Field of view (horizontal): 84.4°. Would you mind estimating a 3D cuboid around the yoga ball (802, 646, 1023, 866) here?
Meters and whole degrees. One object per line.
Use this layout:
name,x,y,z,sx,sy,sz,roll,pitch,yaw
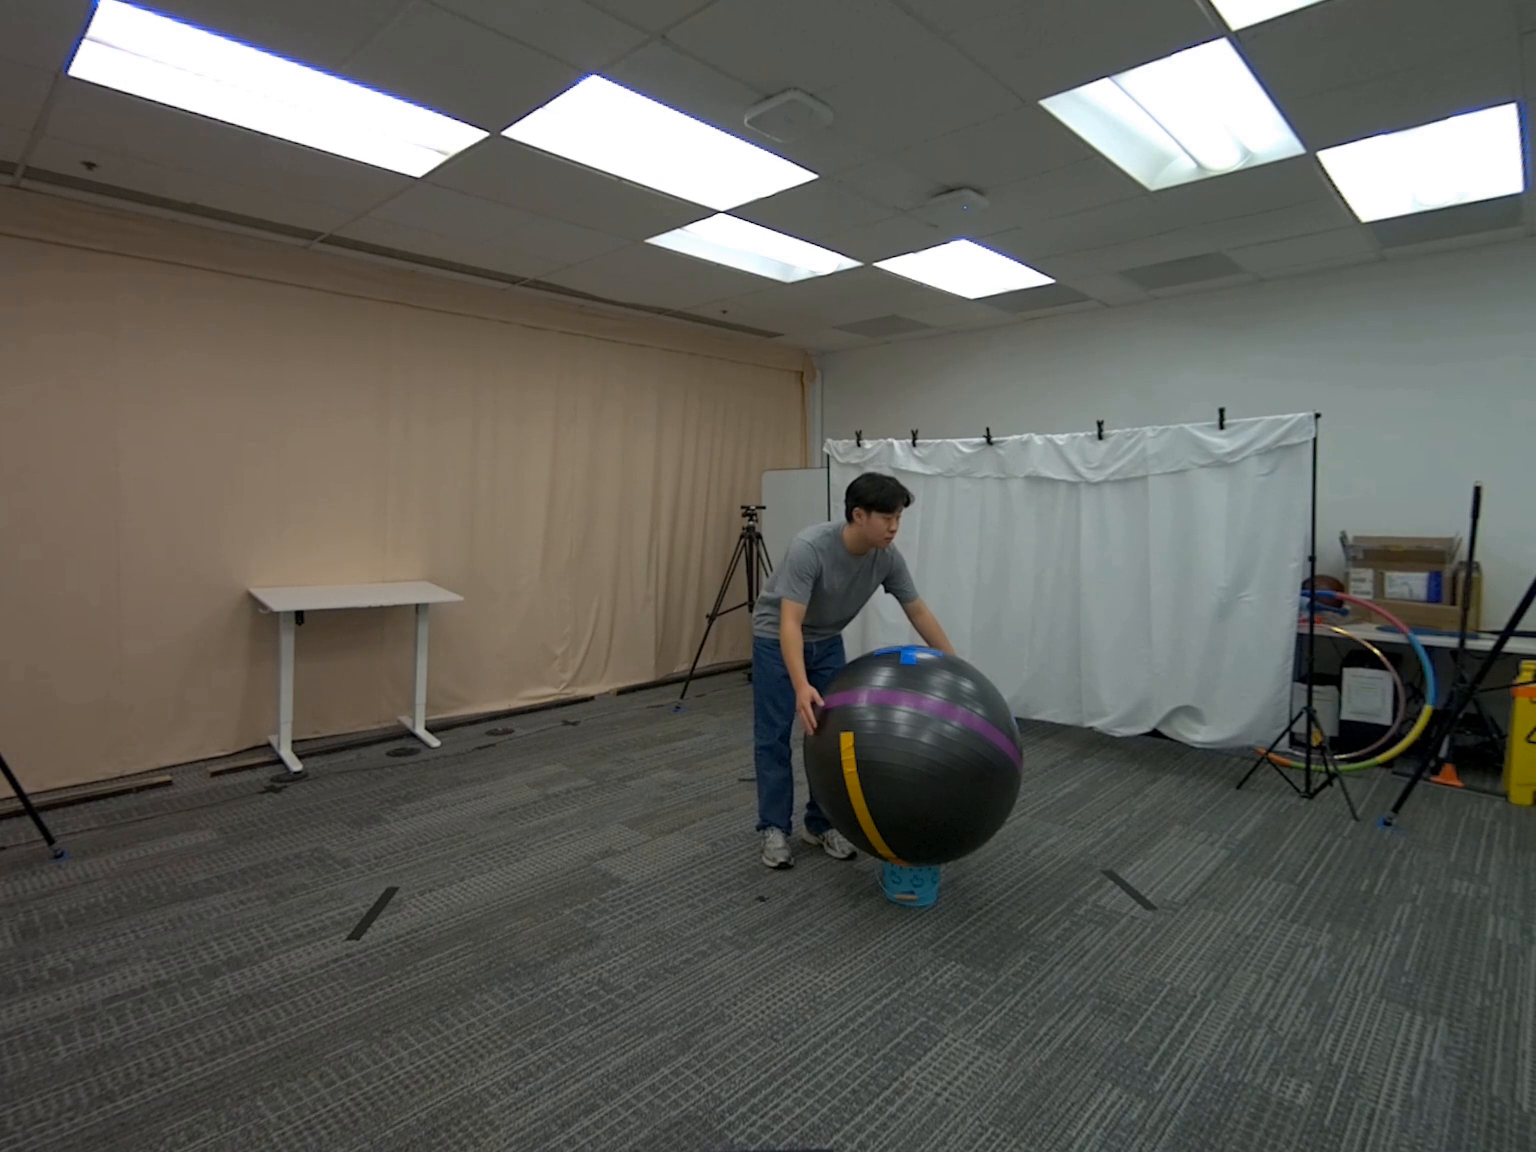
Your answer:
yoga ball,0.515,0.635,2.990,0.757,0.756,0.760,0,4,-2
